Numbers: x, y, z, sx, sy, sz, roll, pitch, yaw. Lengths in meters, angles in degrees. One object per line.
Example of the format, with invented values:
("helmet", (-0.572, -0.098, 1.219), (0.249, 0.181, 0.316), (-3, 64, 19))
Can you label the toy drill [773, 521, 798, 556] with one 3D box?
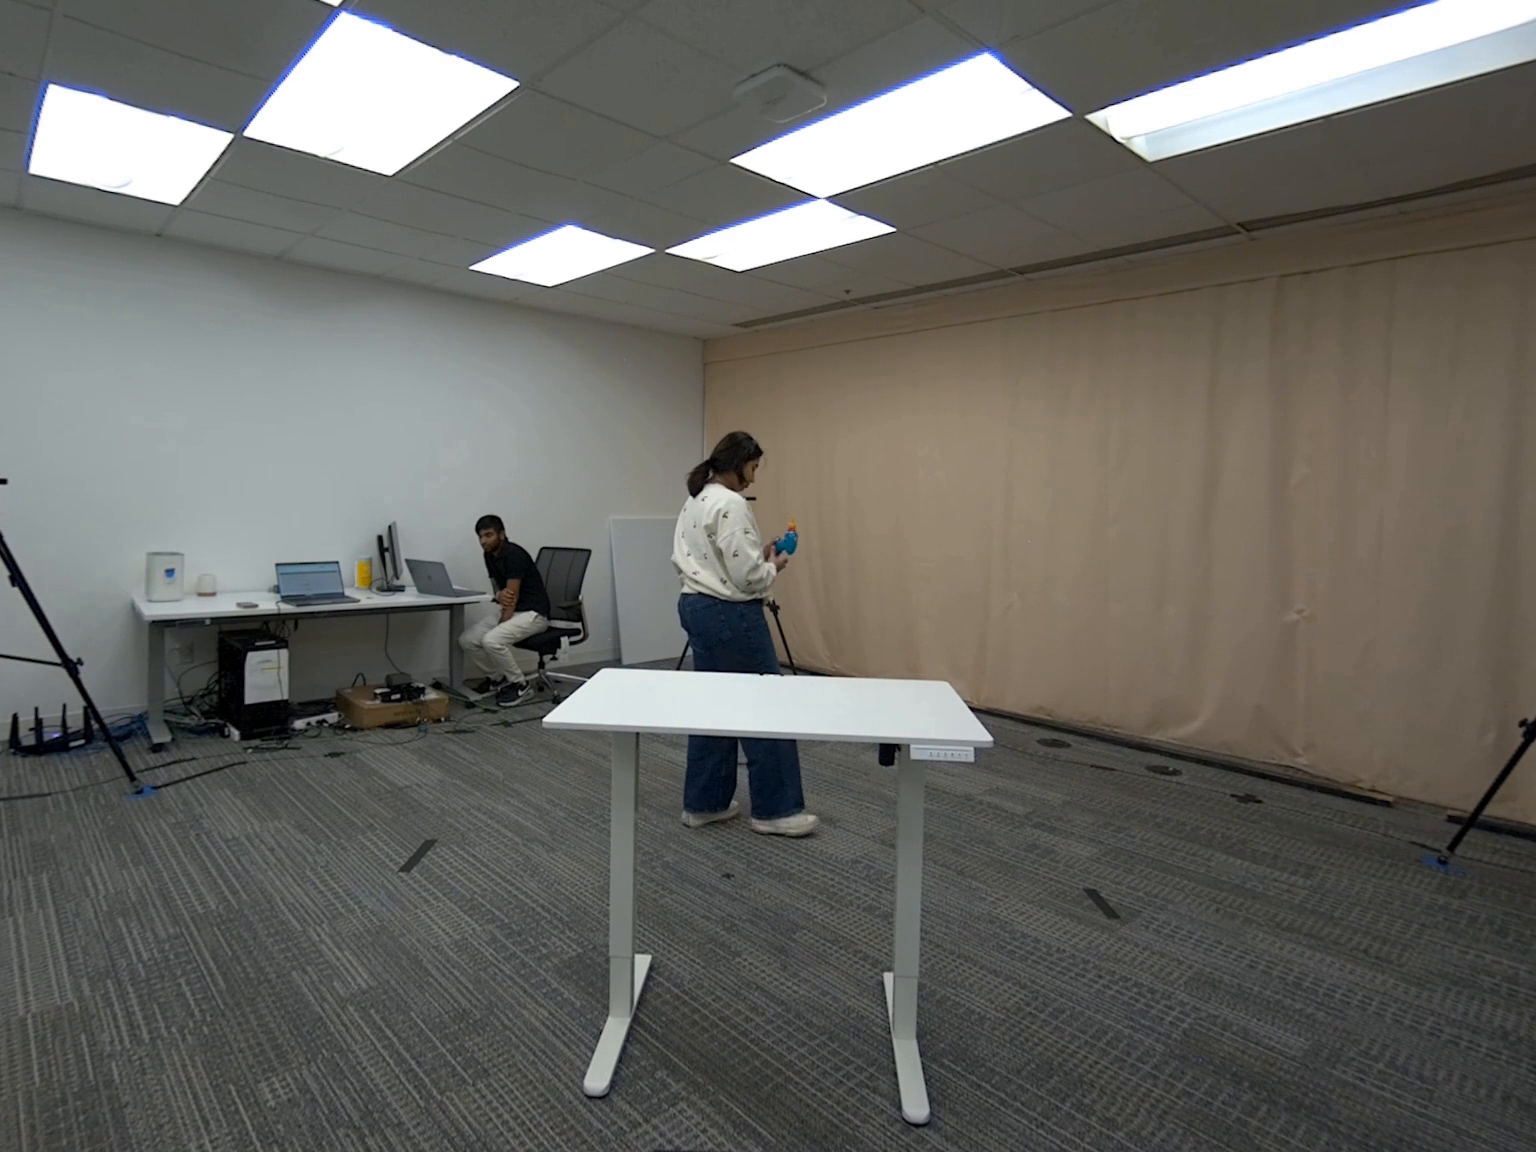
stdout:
("toy drill", (0.067, -0.175, 3.662), (0.059, 0.170, 0.149), (7, -6, -38))
